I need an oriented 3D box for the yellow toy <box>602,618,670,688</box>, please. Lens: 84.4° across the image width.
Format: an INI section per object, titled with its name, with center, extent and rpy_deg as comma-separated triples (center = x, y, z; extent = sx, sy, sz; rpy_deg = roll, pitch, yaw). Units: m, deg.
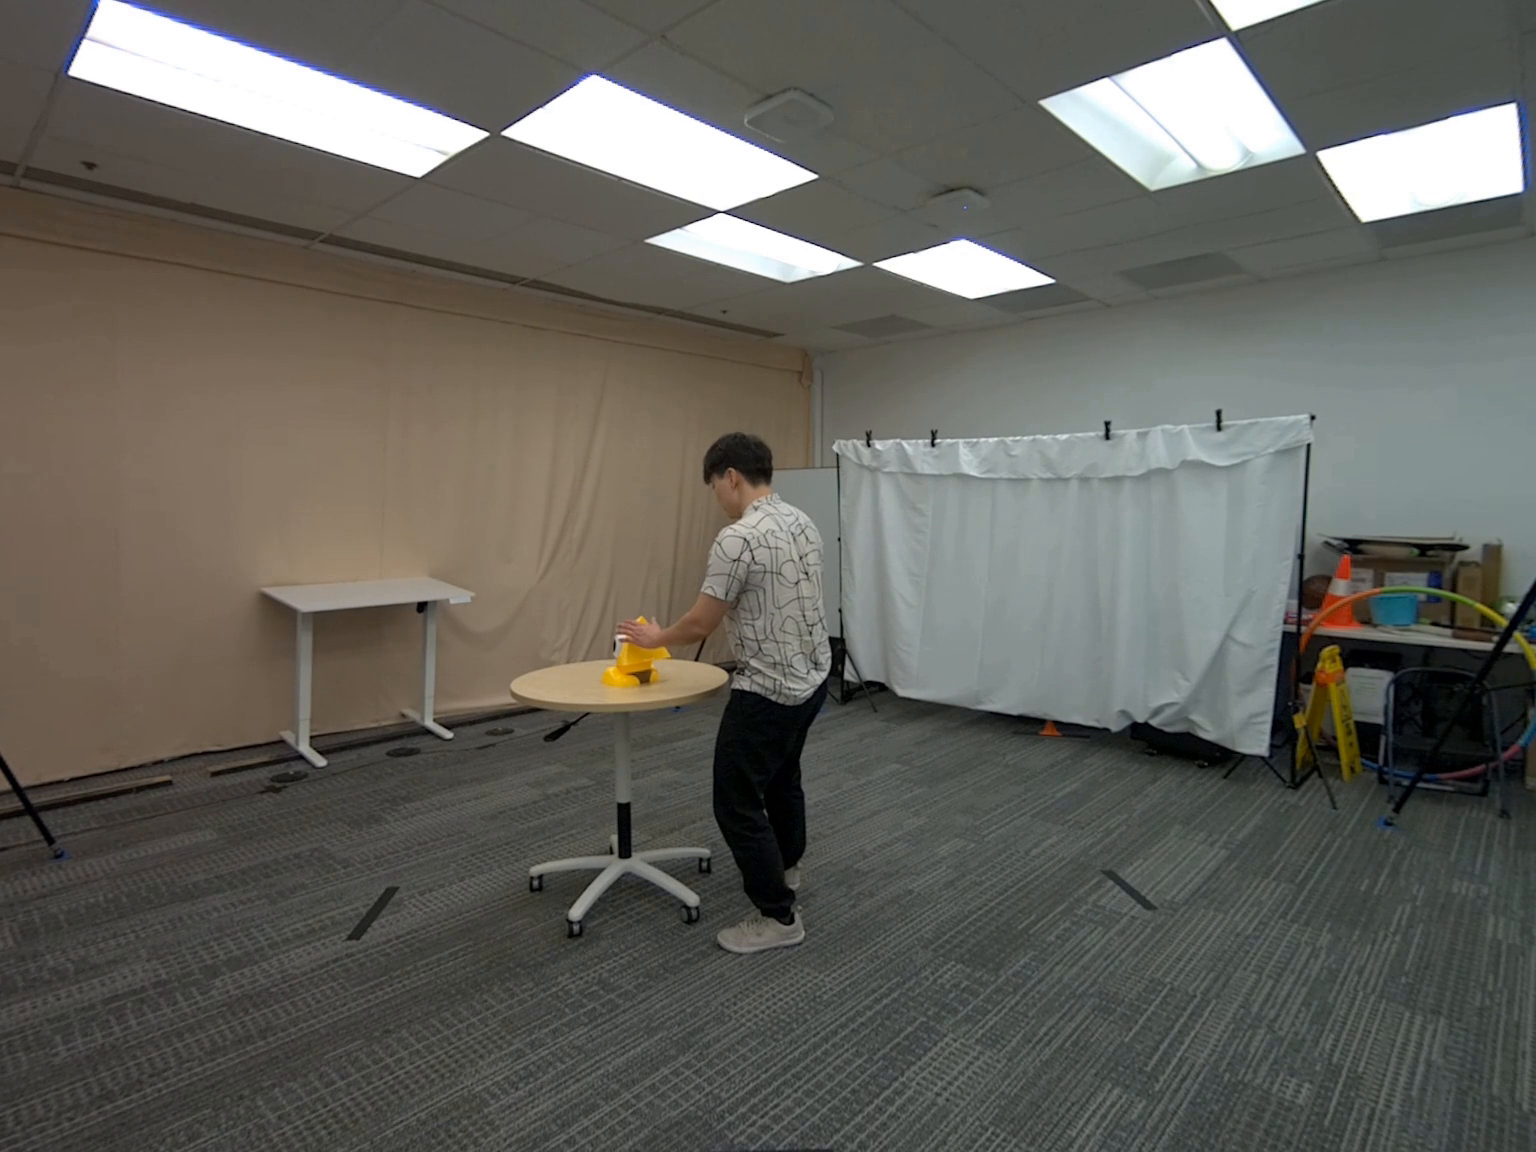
[yellow toy]
center = -0.479, 0.255, 2.942
extent = 0.199, 0.230, 0.198
rpy_deg = 1, 4, 44
